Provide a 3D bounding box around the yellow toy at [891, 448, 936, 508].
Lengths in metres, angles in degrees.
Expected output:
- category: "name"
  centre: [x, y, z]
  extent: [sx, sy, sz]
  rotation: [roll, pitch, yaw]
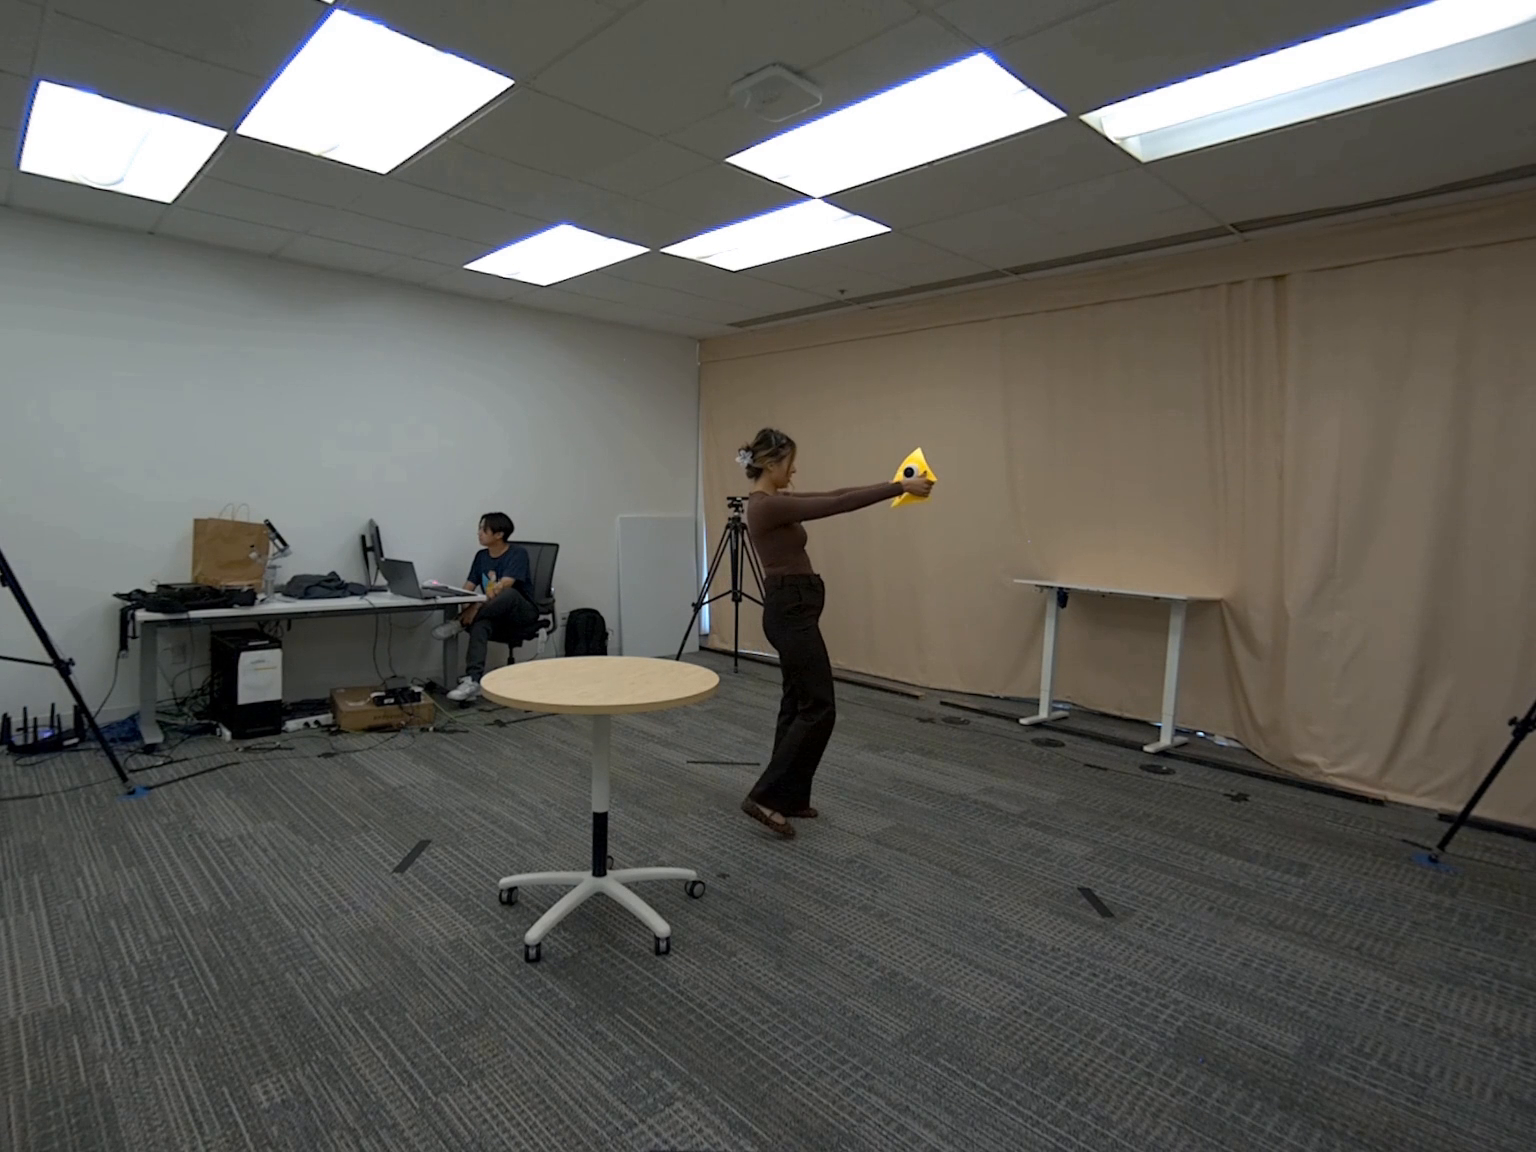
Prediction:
- category: "yellow toy"
  centre: [0.593, -0.424, 3.580]
  extent: [0.193, 0.230, 0.205]
  rotation: [-8, 2, 1]
